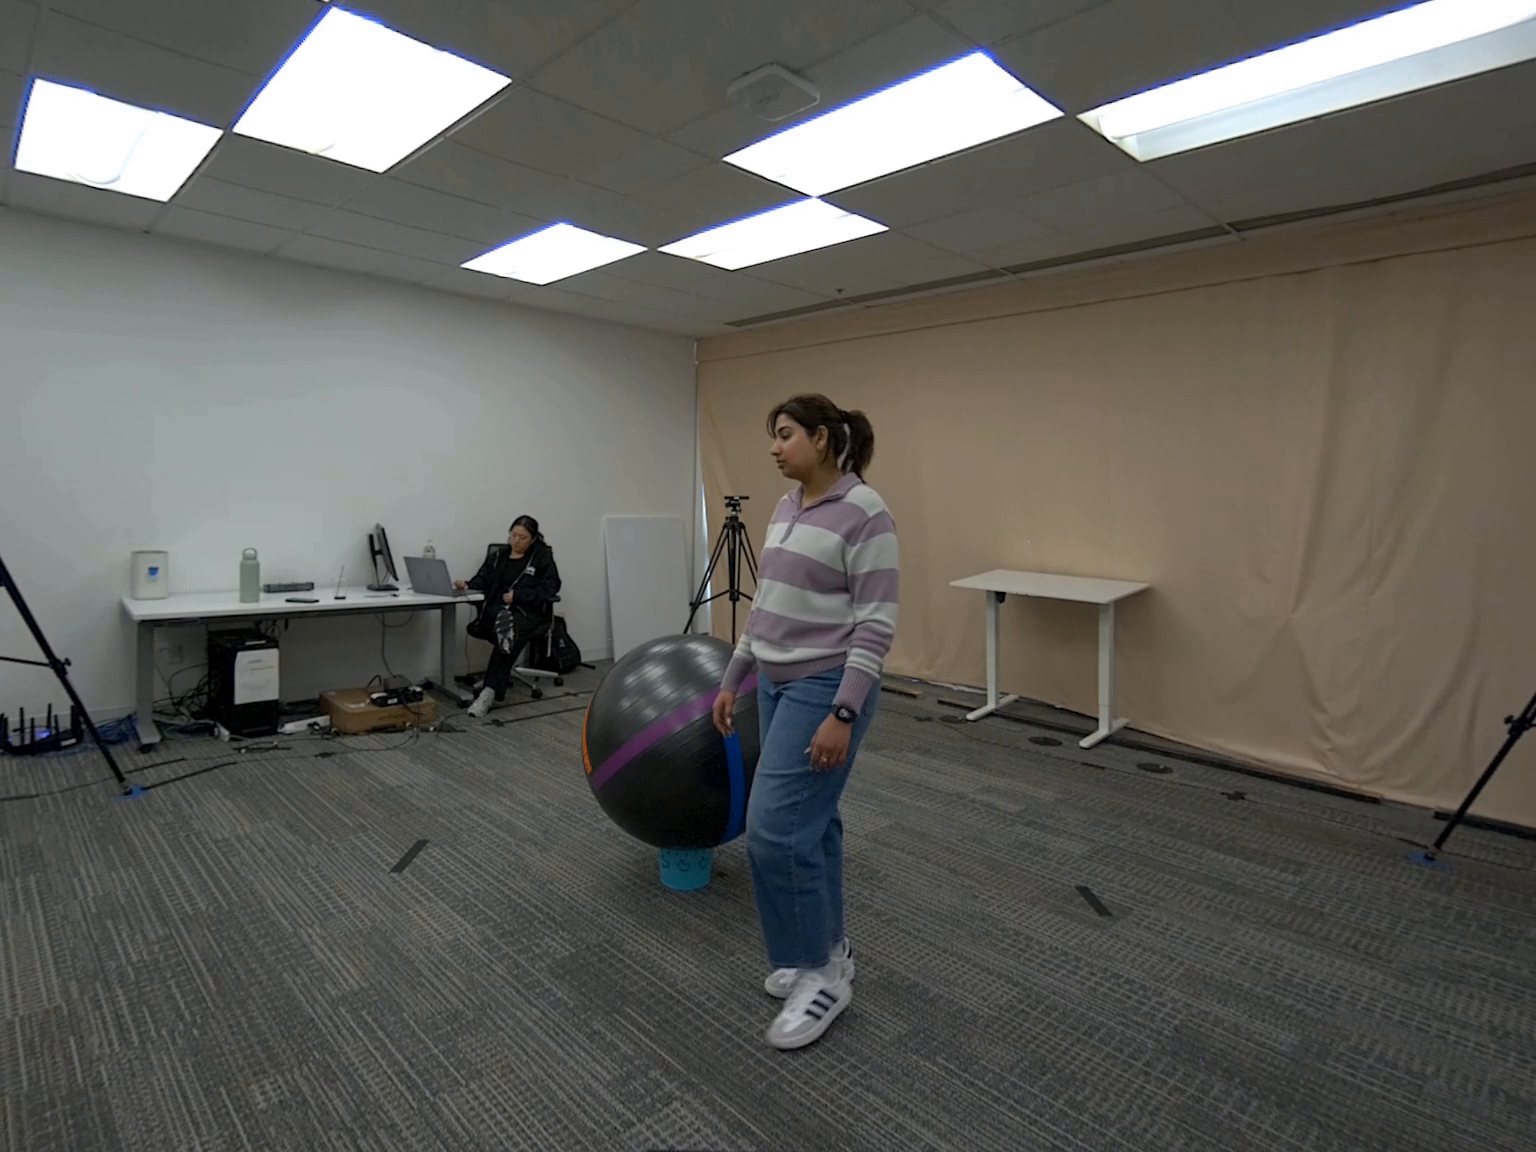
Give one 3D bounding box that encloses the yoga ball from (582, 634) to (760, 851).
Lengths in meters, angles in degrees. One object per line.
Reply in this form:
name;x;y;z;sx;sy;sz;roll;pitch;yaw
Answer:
yoga ball;-0.292;0.592;3.044;0.757;0.756;0.761;1;4;-1
